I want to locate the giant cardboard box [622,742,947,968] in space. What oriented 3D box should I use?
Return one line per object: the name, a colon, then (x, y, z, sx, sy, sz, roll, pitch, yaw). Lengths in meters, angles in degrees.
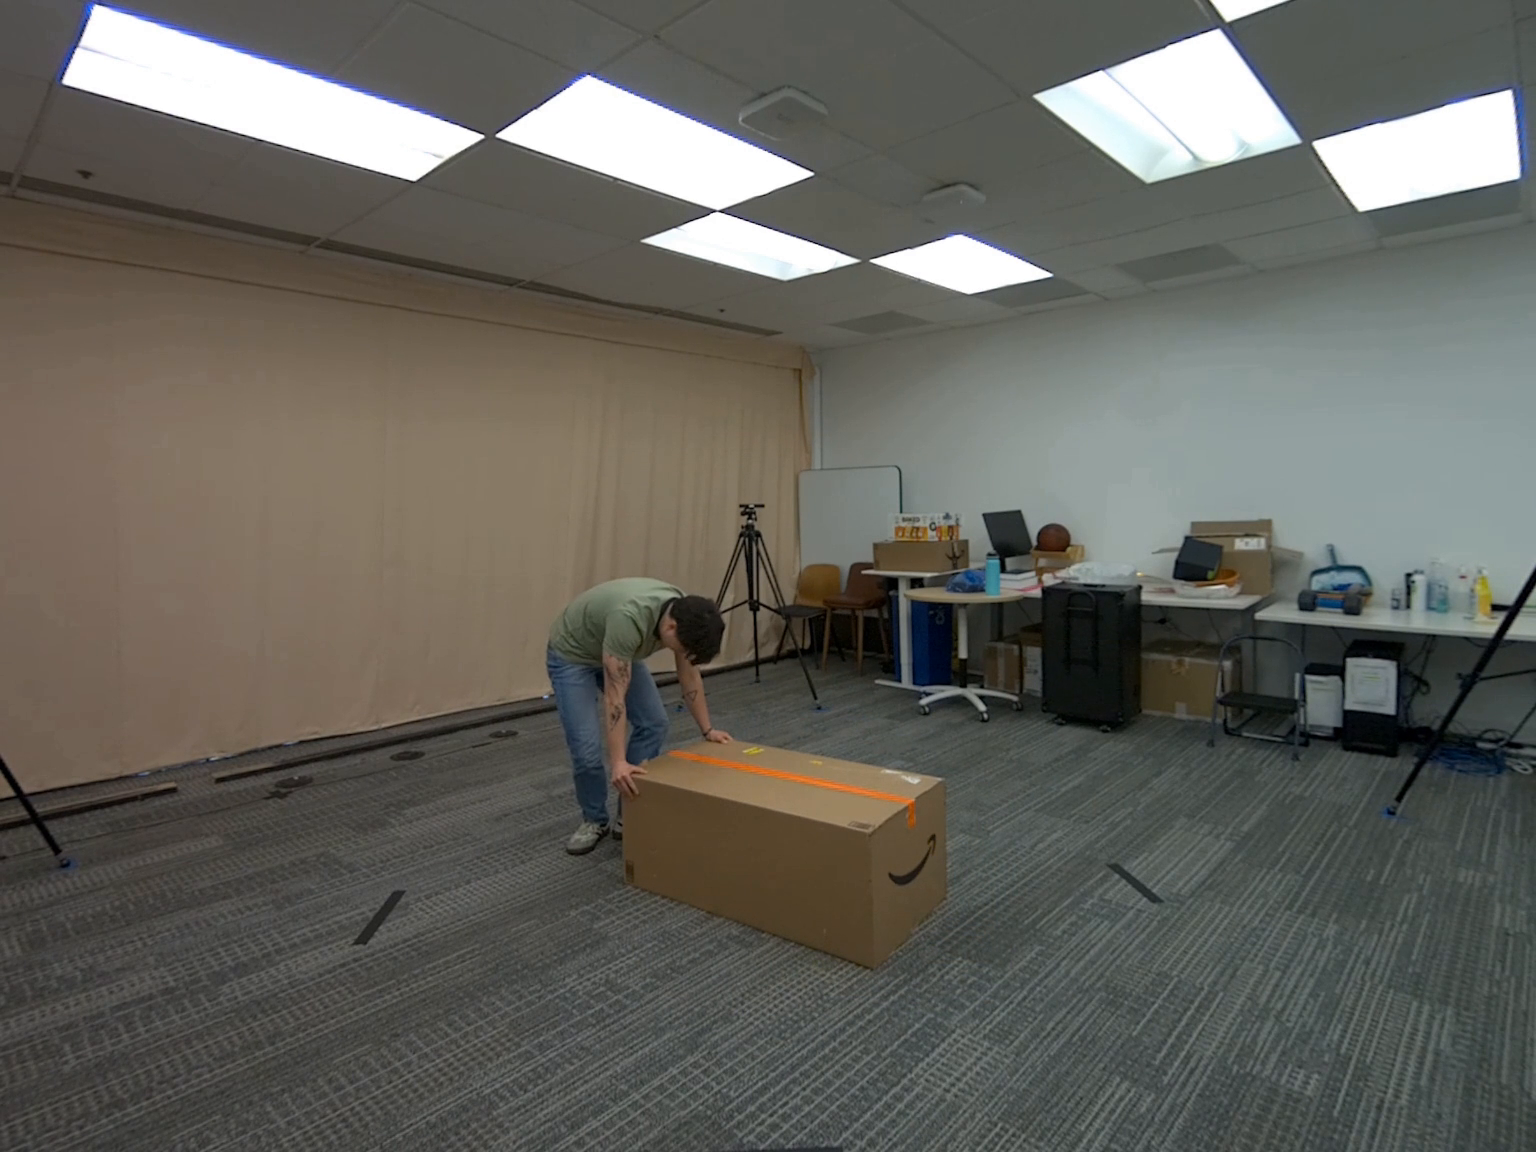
giant cardboard box: (0.047, 0.923, 3.021, 1.058, 0.425, 0.561, 2, 4, 35)
